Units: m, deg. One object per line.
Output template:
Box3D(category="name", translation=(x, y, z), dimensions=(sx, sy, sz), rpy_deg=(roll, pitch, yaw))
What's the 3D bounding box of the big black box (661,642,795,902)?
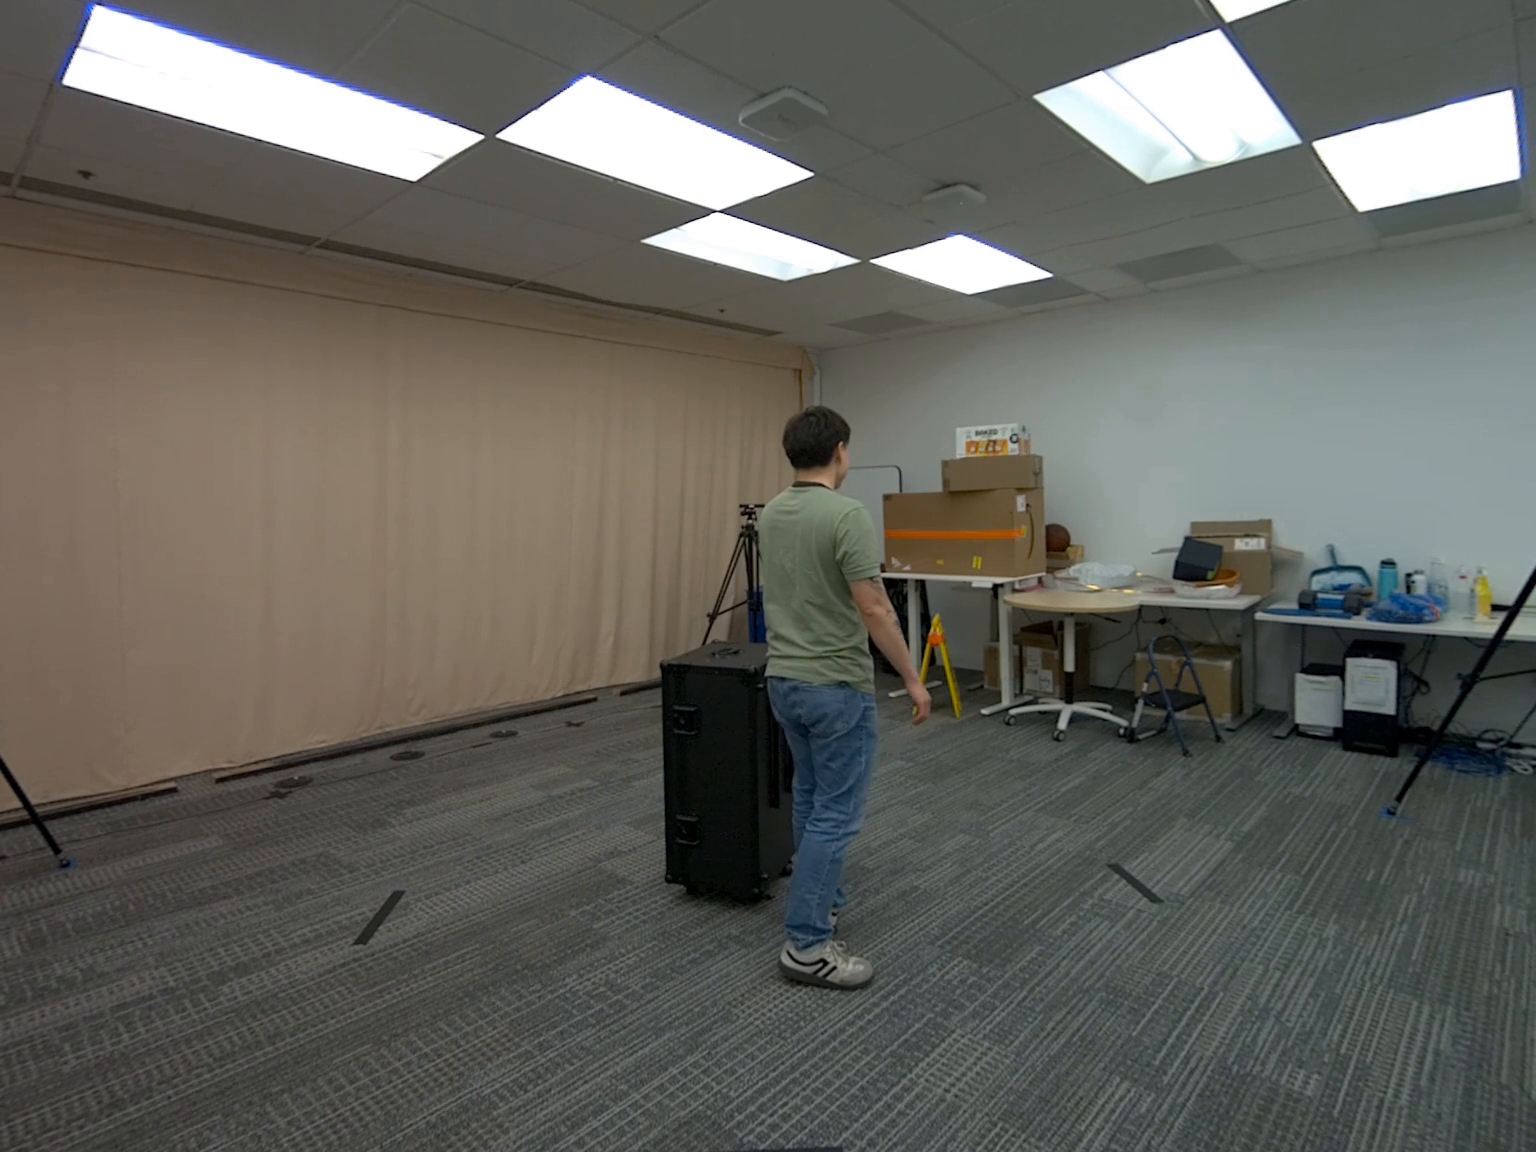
Box3D(category="big black box", translation=(-0.110, 0.703, 3.098), dimensions=(0.405, 0.860, 0.510), rpy_deg=(1, 3, 21))
